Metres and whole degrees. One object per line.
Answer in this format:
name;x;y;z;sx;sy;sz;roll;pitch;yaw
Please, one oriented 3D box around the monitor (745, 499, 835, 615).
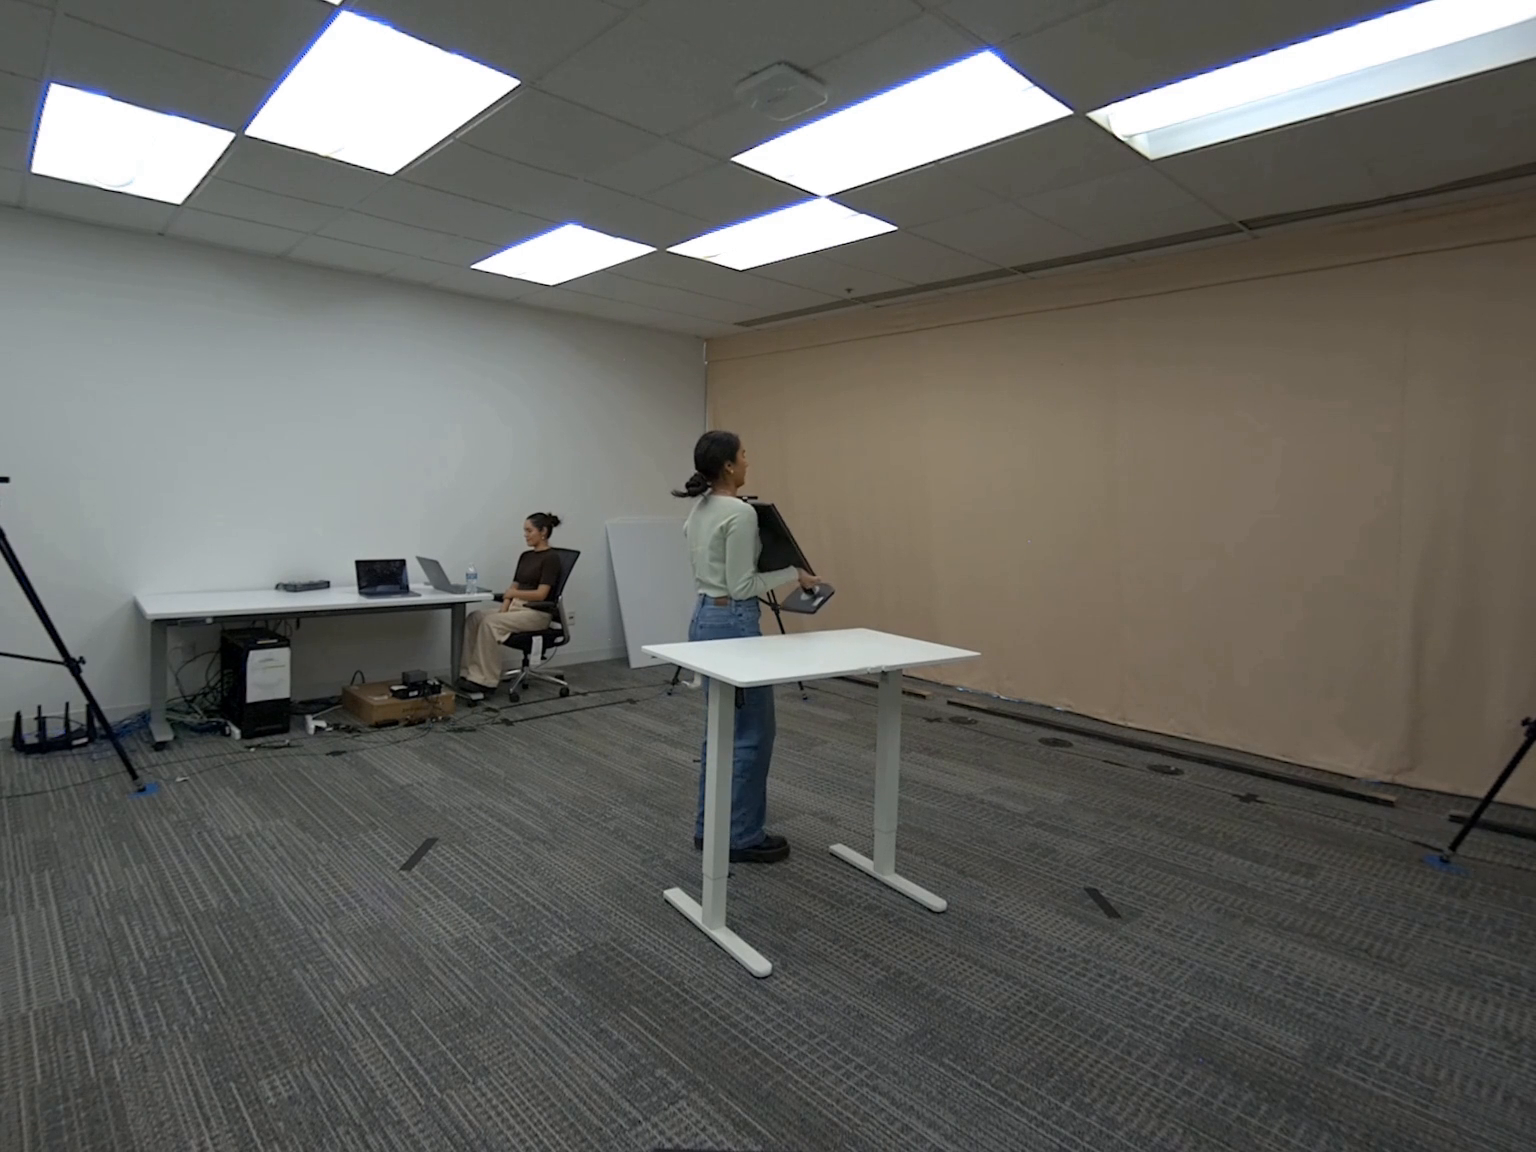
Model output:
monitor;0.031;-0.096;3.425;0.187;0.513;0.550;-45;20;-19
